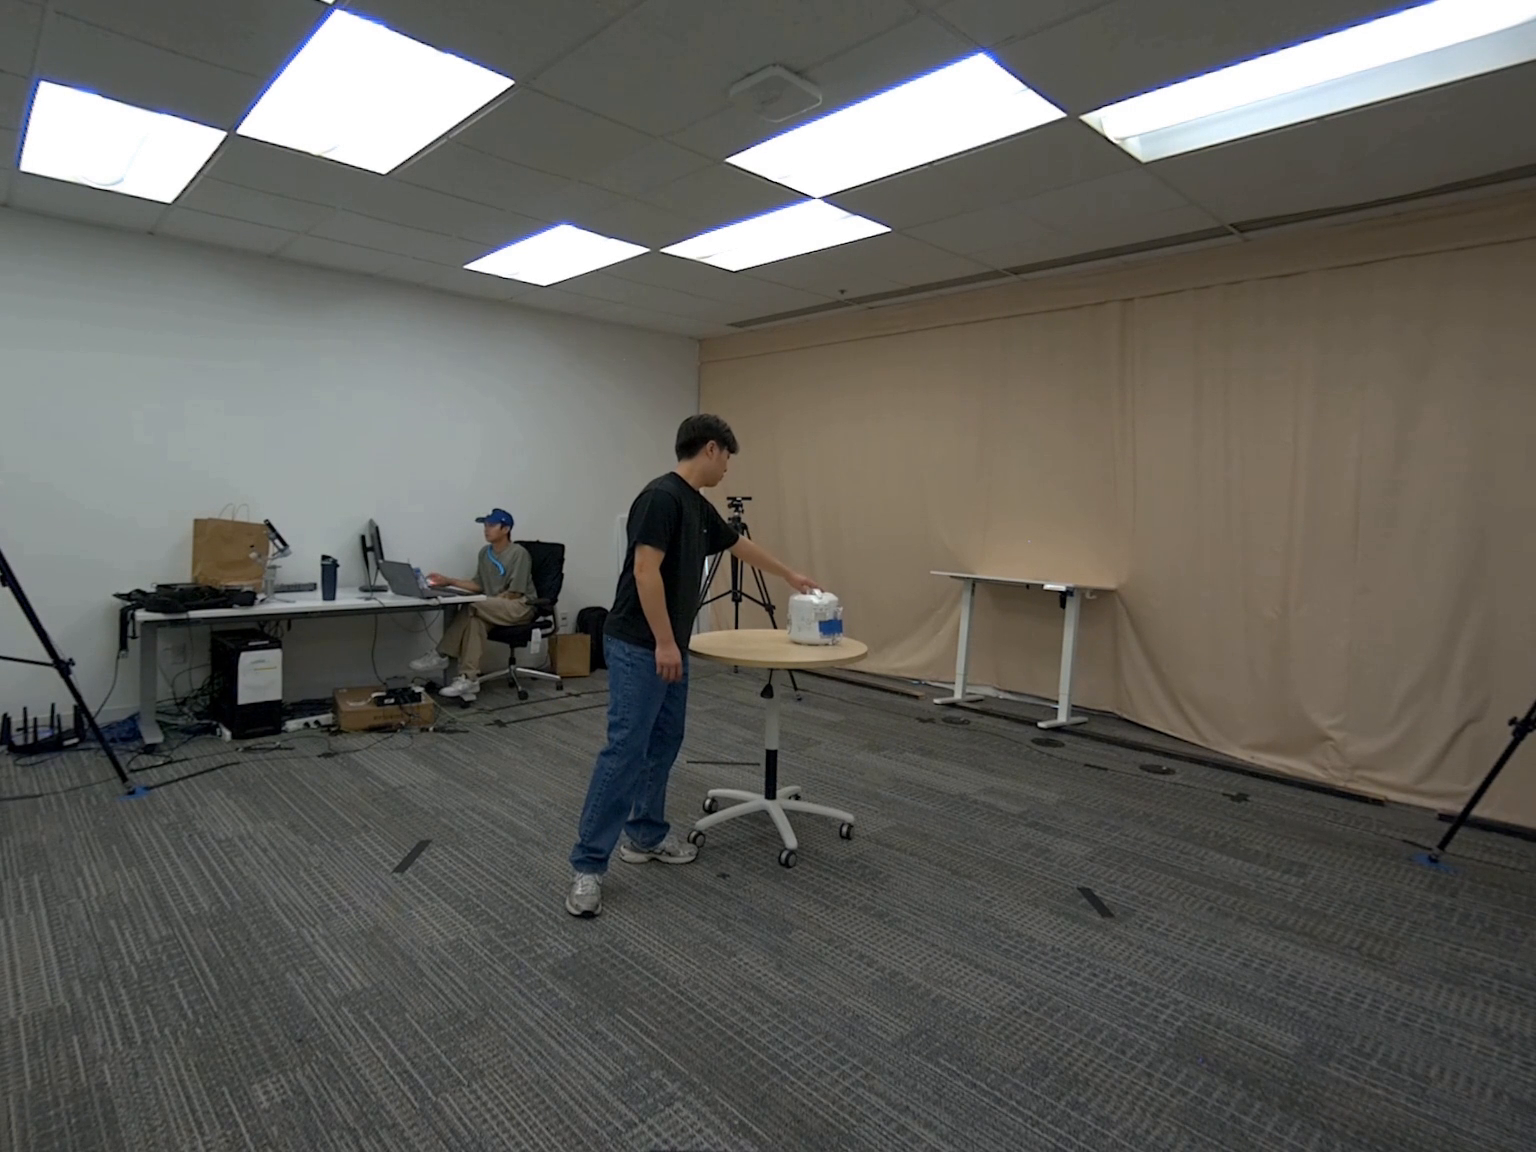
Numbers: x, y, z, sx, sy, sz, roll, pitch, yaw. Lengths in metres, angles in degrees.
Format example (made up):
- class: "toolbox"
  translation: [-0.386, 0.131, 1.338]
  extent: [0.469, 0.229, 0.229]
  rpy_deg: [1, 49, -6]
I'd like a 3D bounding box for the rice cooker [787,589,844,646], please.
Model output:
- class: "rice cooker"
  translation: [0.188, 0.167, 3.551]
  extent: [0.216, 0.232, 0.223]
  rpy_deg: [0, 4, -10]
